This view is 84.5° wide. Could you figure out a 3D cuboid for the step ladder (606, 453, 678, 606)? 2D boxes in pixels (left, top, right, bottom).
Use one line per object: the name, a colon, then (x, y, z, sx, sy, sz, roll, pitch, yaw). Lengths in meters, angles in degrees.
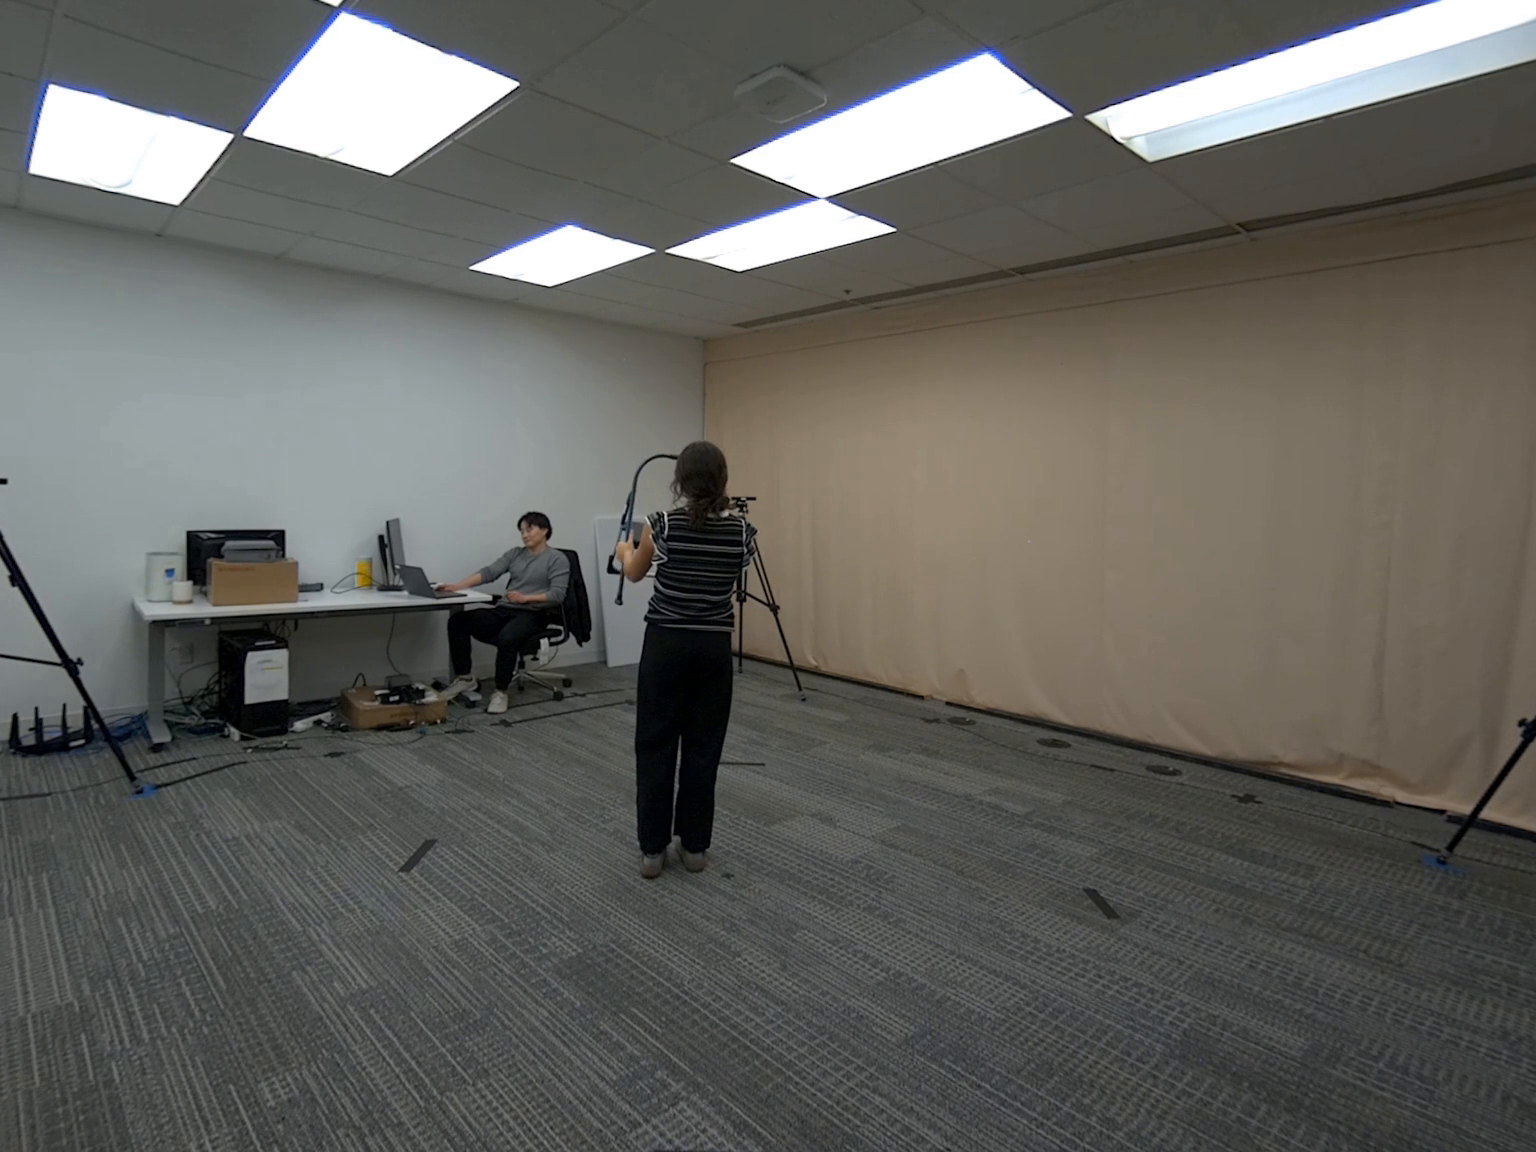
step ladder: (-0.415, -0.197, 3.600, 0.423, 0.600, 0.358, 8, 19, -21)
